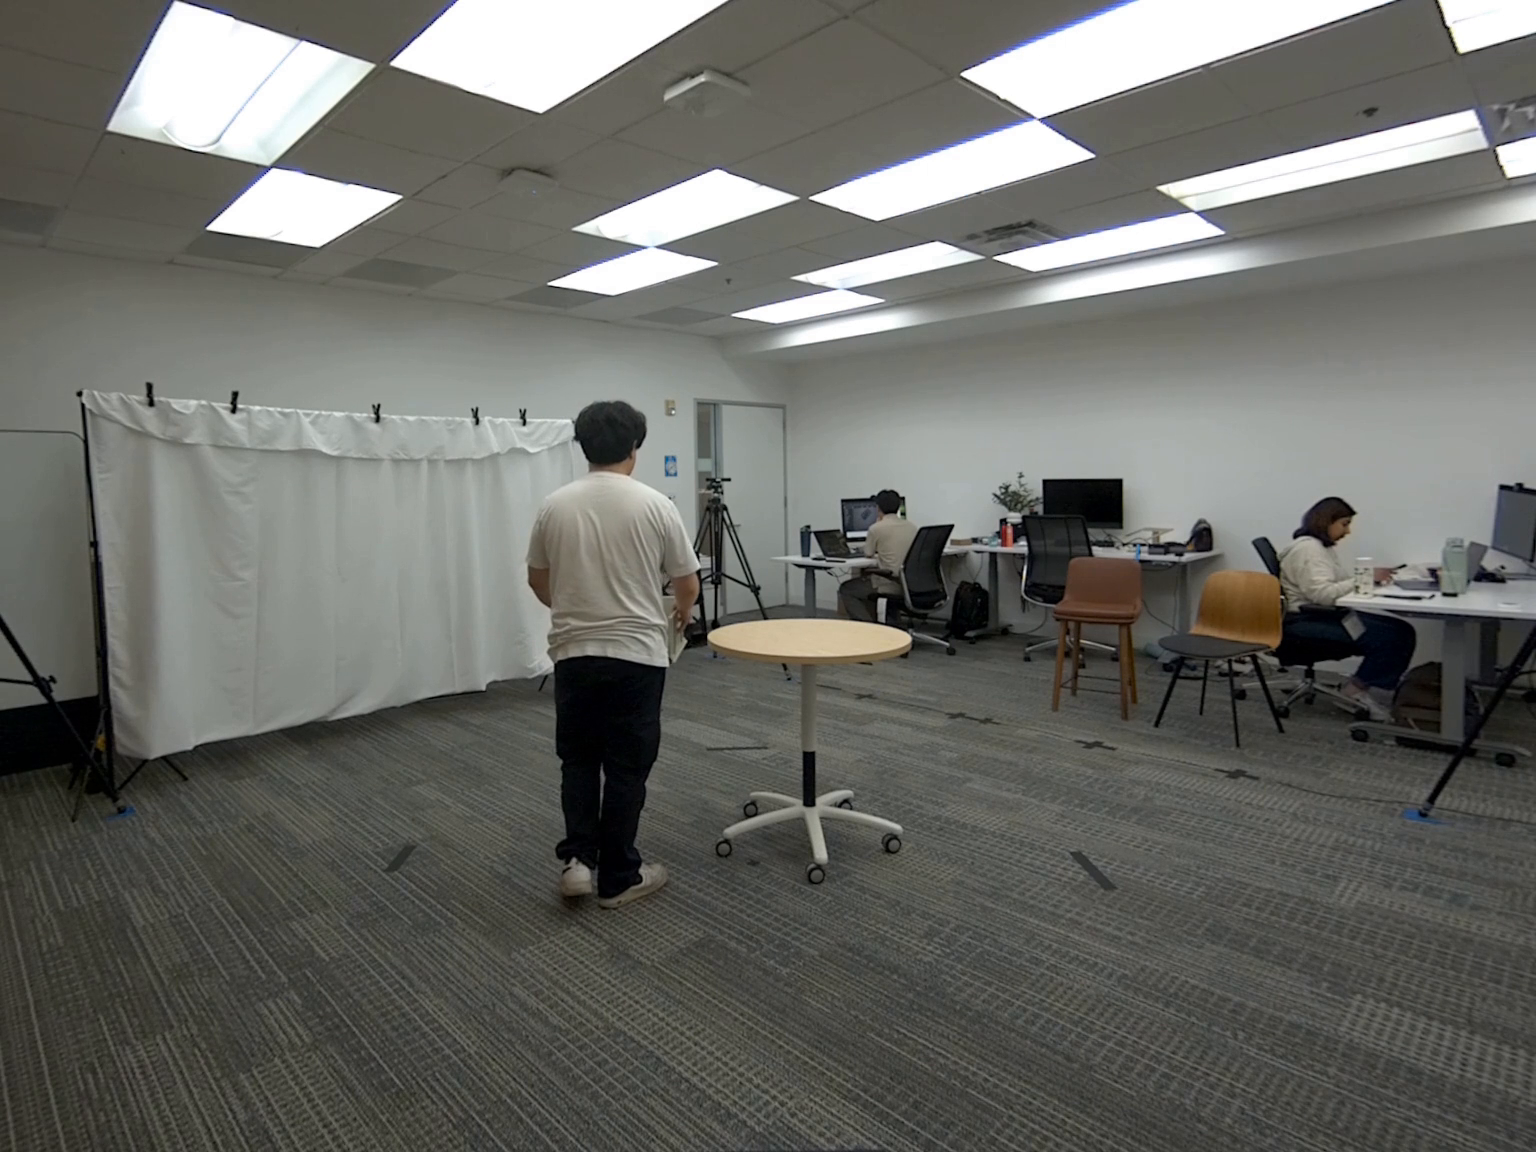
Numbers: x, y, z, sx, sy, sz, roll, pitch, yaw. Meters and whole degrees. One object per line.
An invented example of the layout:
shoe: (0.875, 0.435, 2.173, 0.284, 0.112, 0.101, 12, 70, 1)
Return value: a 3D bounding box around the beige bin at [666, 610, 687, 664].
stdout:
beige bin: (-0.541, 0.201, 3.153, 0.424, 0.189, 0.376, -3, 1, 4)
